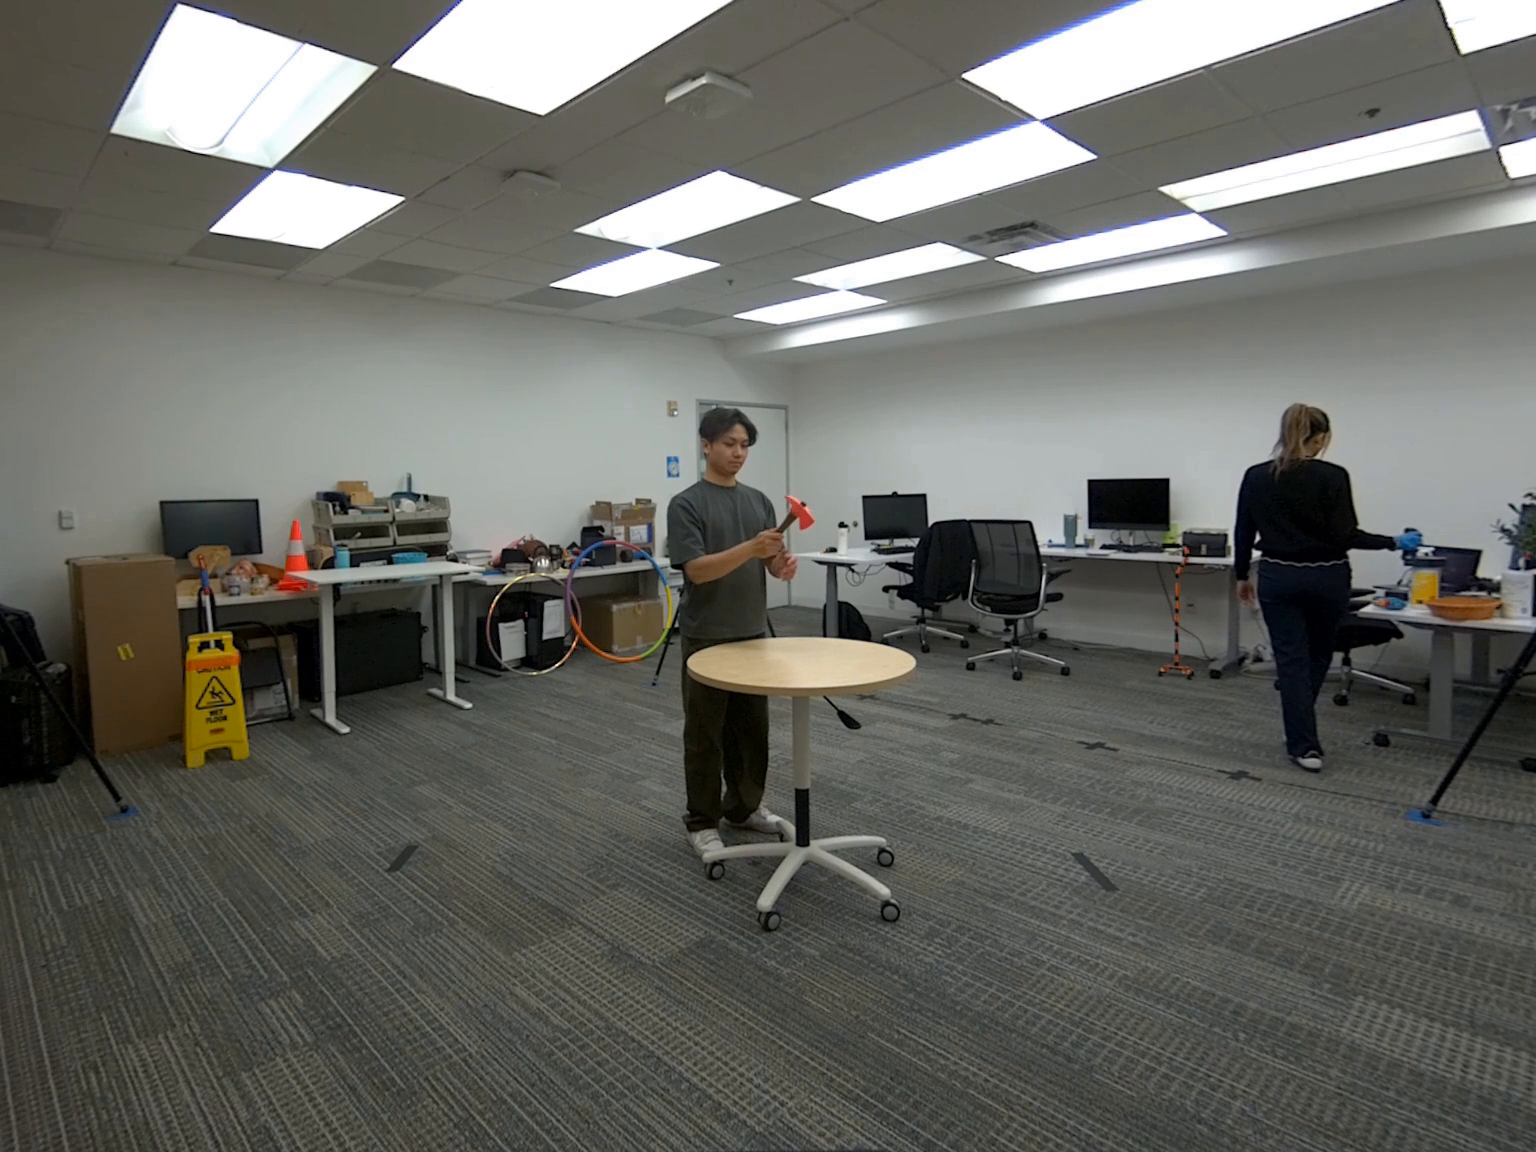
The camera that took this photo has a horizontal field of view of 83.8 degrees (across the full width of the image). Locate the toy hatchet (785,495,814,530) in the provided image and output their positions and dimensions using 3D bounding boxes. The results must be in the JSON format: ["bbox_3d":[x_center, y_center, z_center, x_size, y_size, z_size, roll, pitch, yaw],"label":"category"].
[{"bbox_3d":[0.074,-0.140,2.943,0.134,0.267,0.029,28,23,18],"label":"toy hatchet"}]
